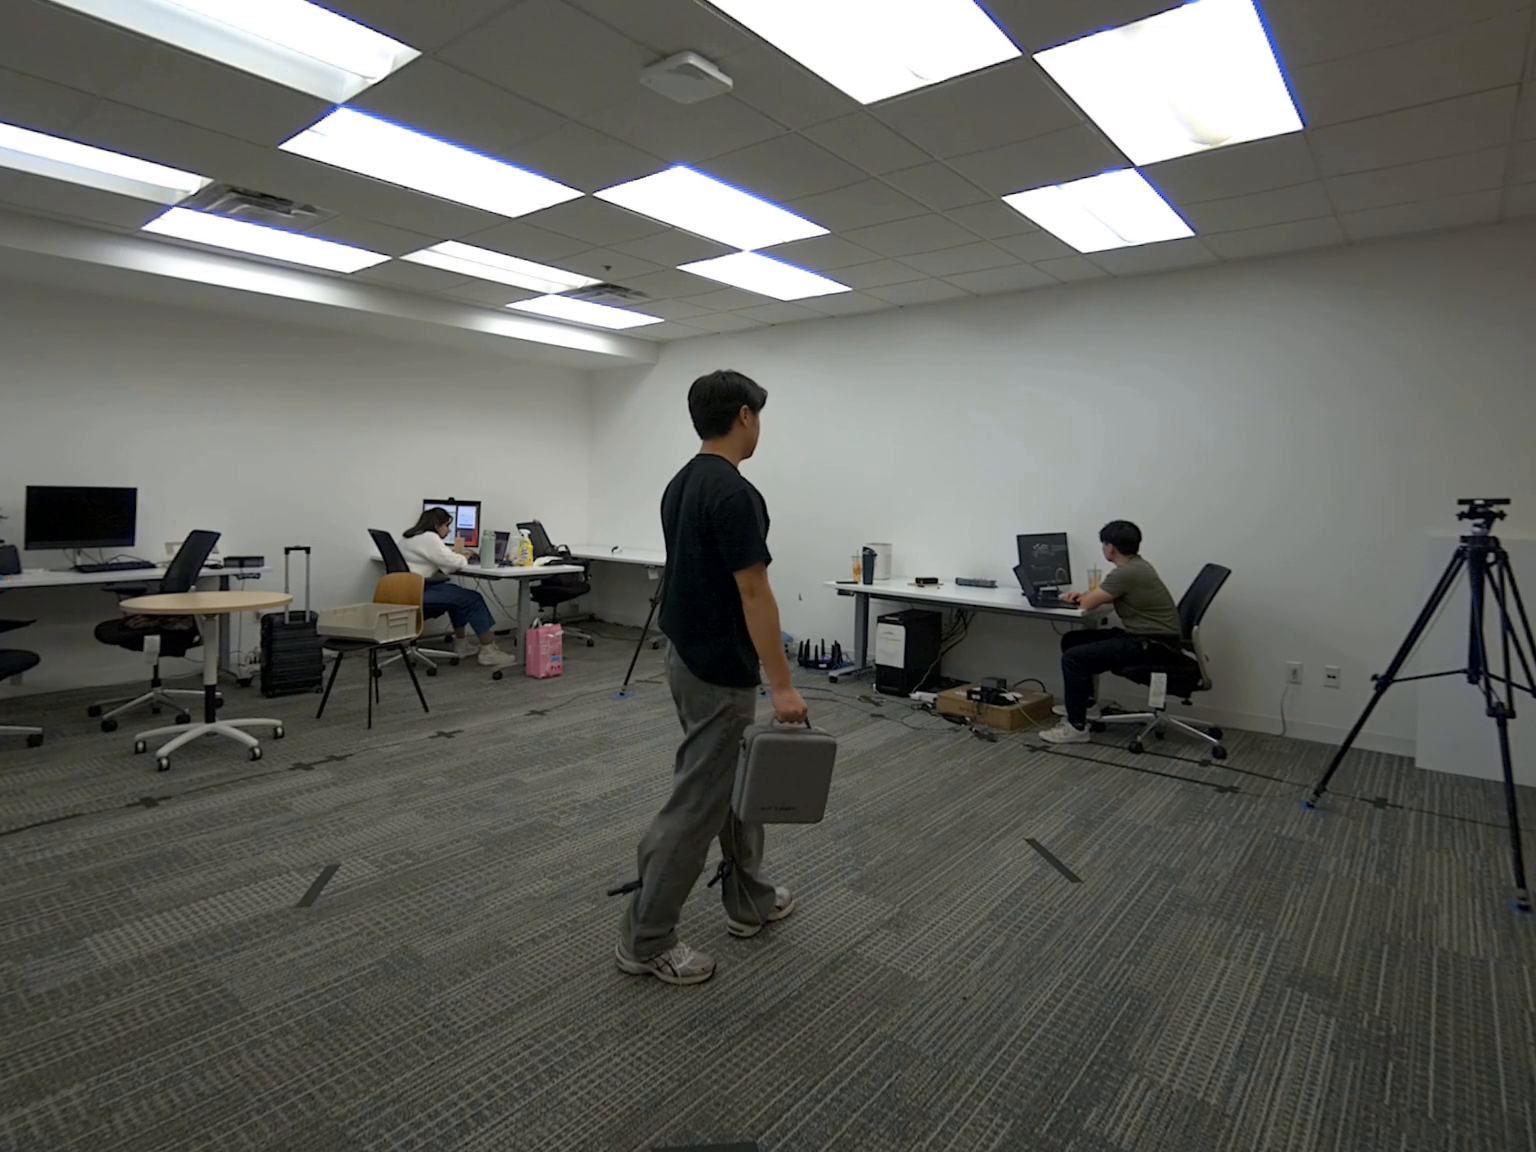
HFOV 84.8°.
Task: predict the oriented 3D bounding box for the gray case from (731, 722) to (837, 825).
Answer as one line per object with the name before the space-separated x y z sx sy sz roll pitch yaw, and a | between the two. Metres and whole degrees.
gray case | 0.032 0.515 2.303 0.258 0.286 0.105 6 4 -19
